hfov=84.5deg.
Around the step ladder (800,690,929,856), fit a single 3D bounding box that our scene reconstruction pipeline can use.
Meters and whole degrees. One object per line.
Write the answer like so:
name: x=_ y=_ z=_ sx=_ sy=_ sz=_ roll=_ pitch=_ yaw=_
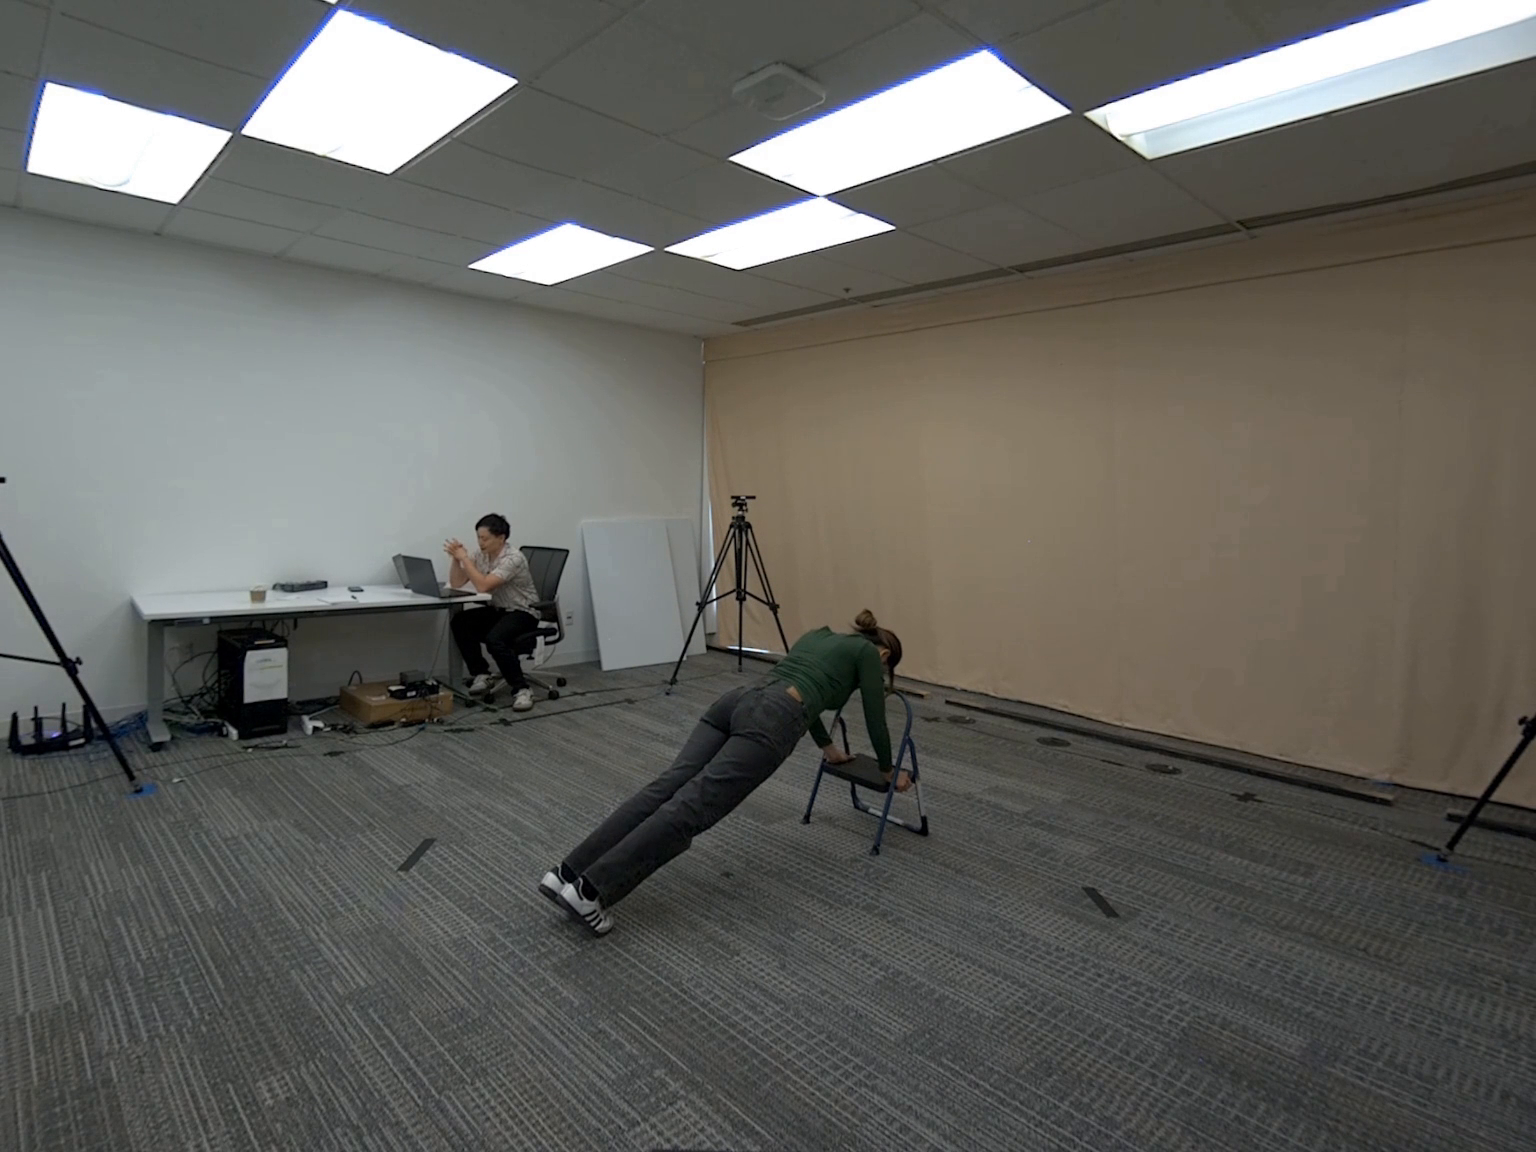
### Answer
step ladder: x=0.411 y=0.774 z=3.557 sx=0.341 sy=0.605 sz=0.441 roll=-1 pitch=4 yaw=-40
